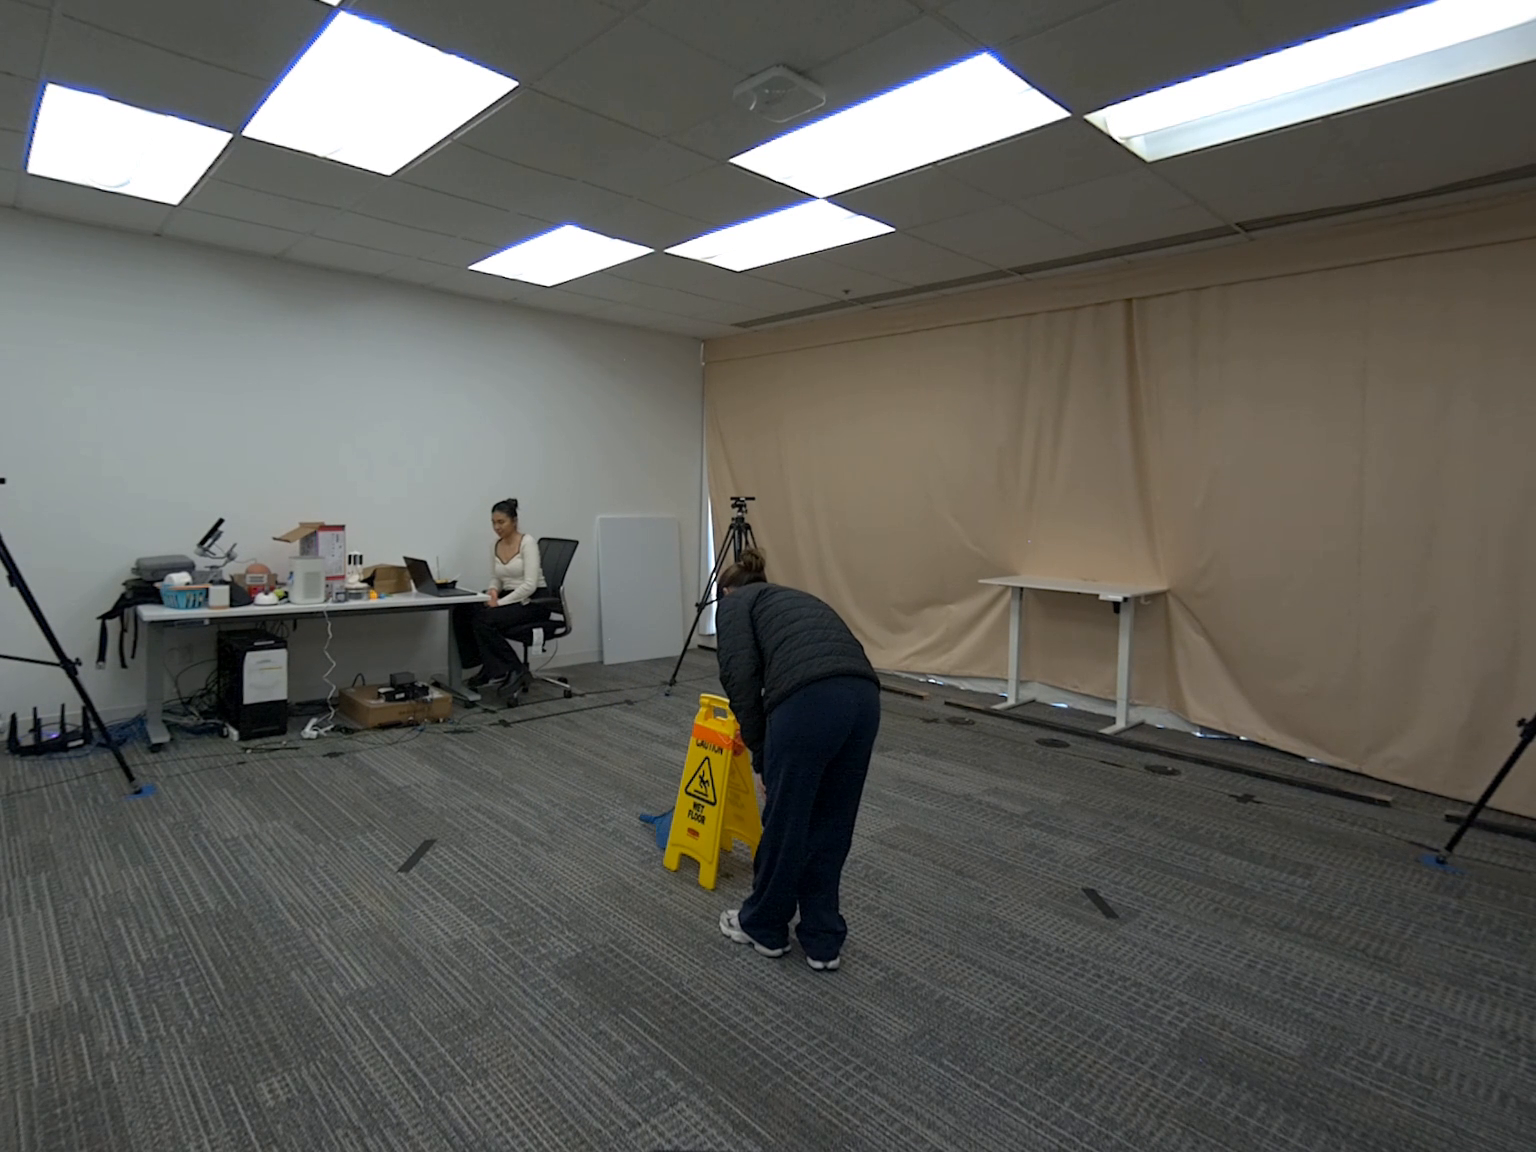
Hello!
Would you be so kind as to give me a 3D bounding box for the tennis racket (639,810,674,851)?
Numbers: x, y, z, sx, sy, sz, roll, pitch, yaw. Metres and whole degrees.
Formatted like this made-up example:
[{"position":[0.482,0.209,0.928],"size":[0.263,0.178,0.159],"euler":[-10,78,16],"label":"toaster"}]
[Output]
[{"position":[-0.393,1.021,3.389],"size":[0.440,0.031,0.214],"euler":[-12,35,50],"label":"tennis racket"}]
